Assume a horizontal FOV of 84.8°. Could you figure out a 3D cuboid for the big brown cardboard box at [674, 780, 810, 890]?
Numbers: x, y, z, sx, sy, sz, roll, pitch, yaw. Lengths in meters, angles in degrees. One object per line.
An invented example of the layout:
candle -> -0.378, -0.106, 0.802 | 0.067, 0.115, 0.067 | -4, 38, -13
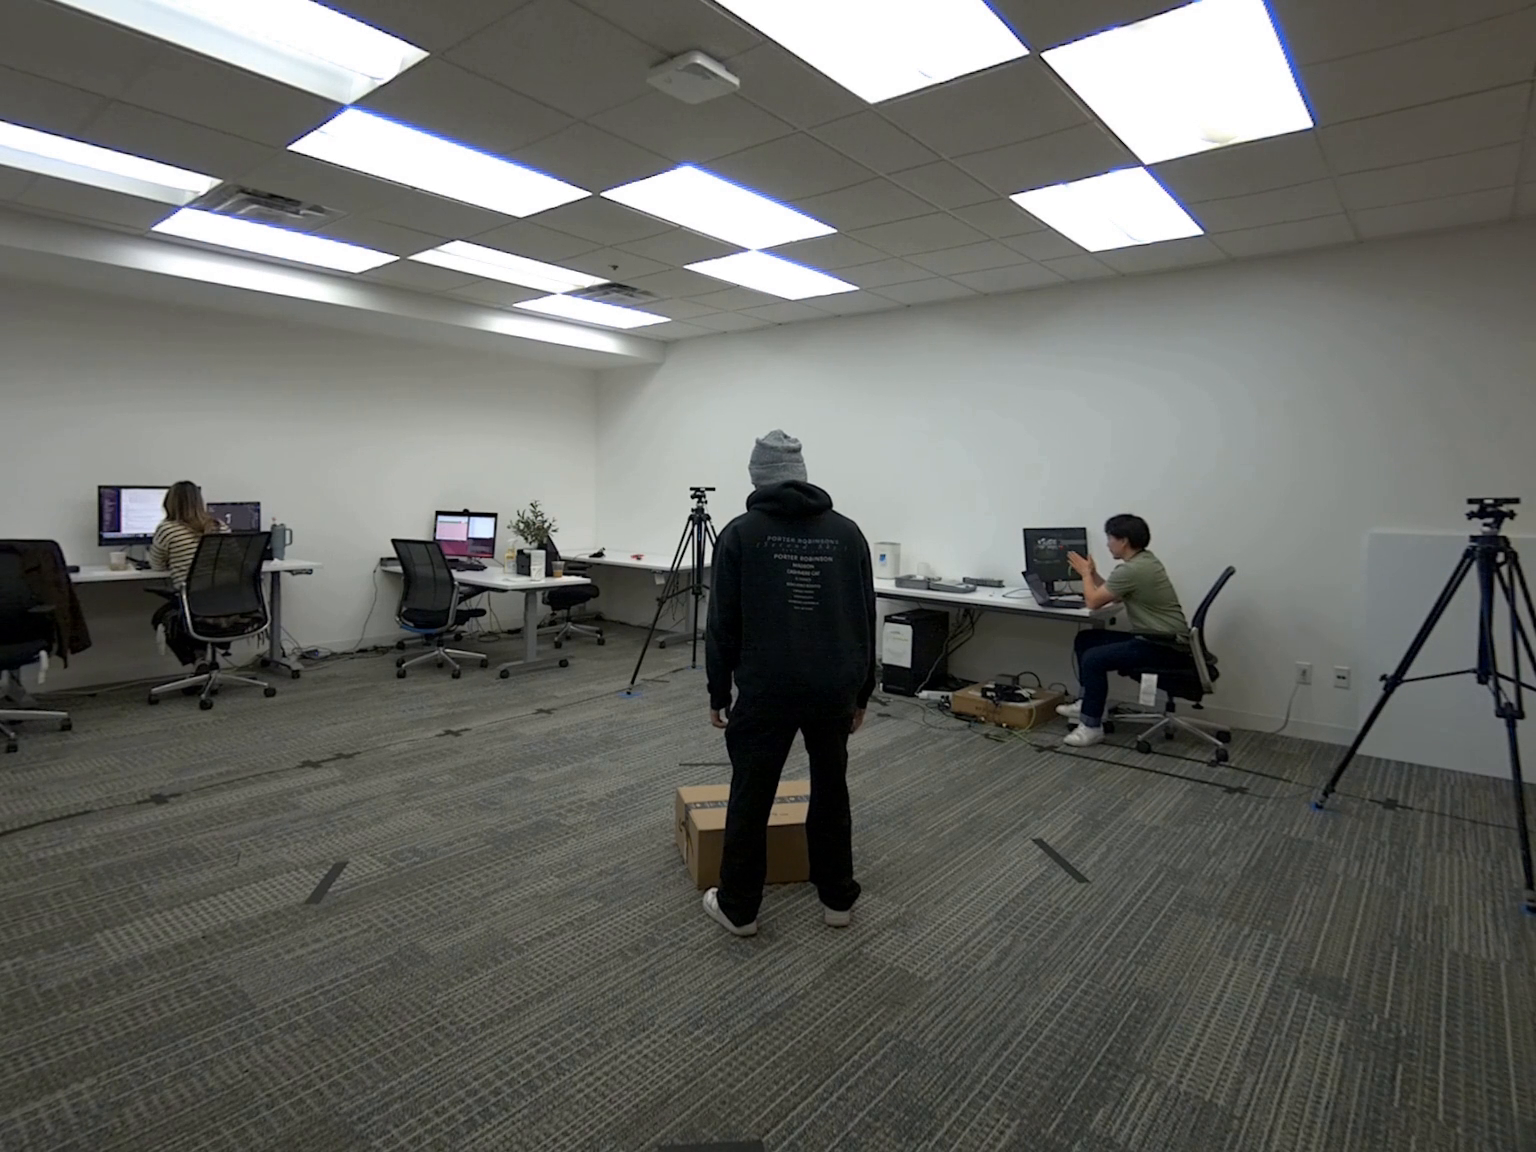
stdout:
big brown cardboard box -> -0.035, 0.949, 3.185 | 0.581, 0.232, 0.425 | 1, 5, -14
